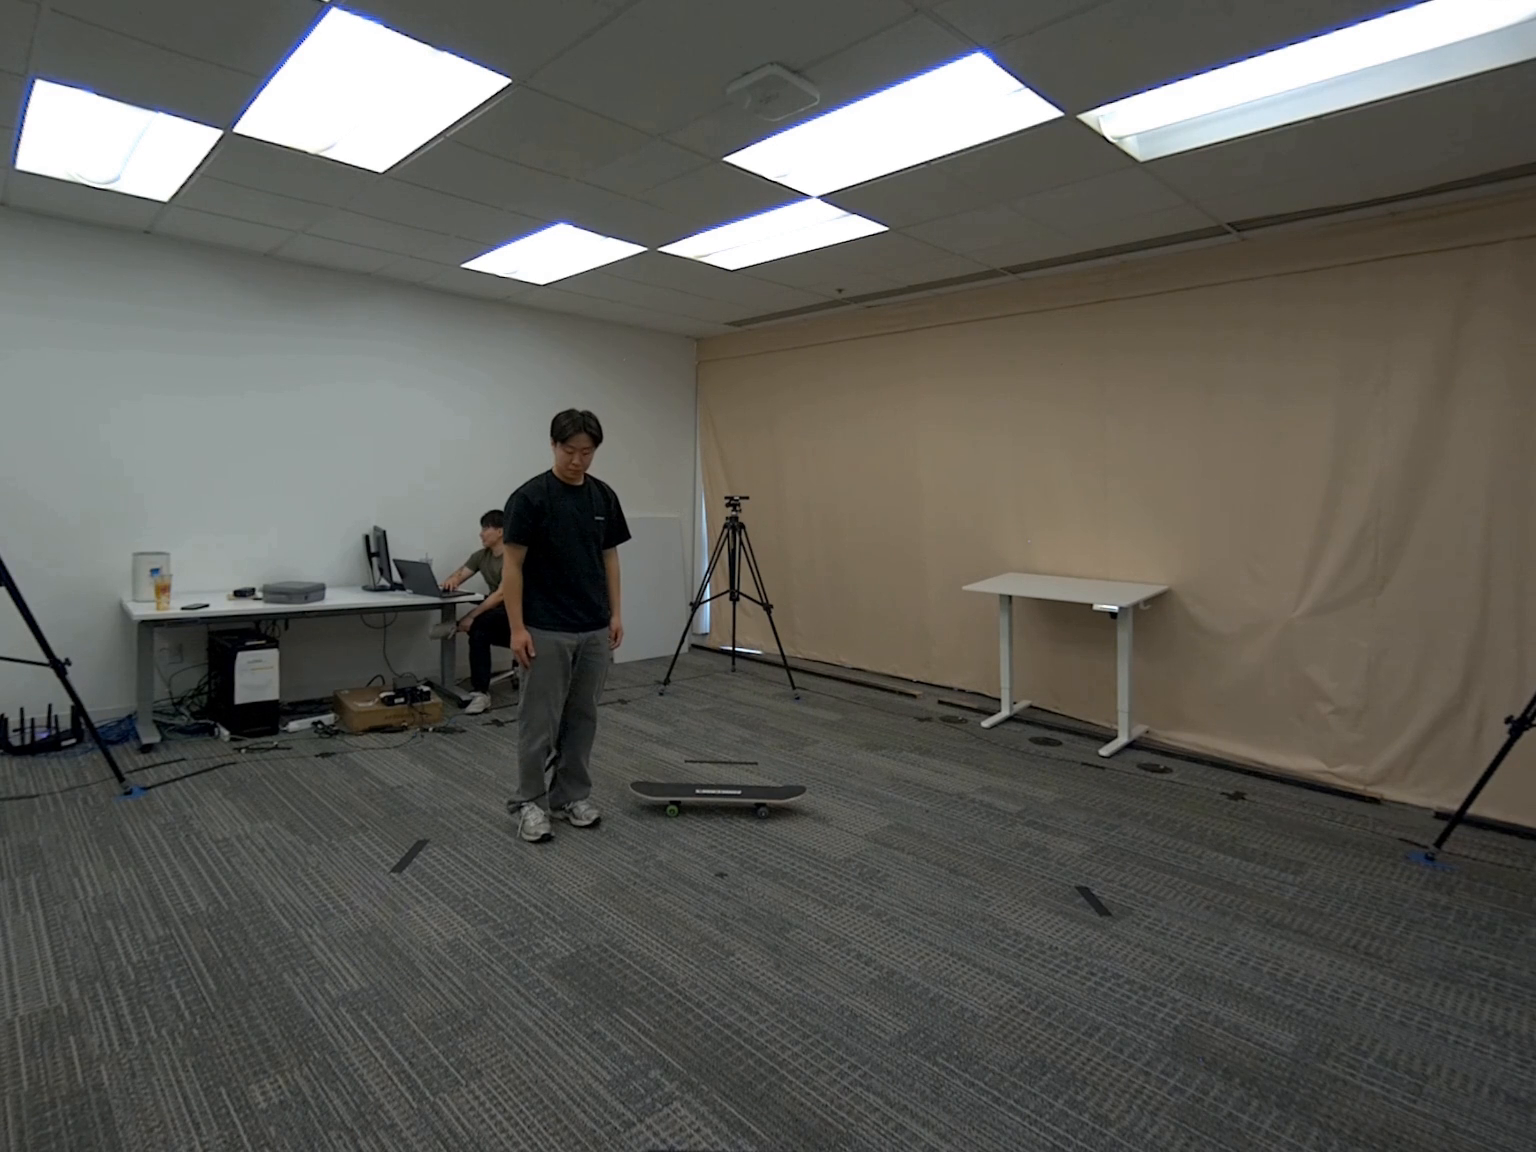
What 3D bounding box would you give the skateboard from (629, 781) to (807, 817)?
[{"bbox_3d":[-0.226,0.979,3.738,0.786,0.110,0.194,1,4,1],"label":"skateboard"}]
